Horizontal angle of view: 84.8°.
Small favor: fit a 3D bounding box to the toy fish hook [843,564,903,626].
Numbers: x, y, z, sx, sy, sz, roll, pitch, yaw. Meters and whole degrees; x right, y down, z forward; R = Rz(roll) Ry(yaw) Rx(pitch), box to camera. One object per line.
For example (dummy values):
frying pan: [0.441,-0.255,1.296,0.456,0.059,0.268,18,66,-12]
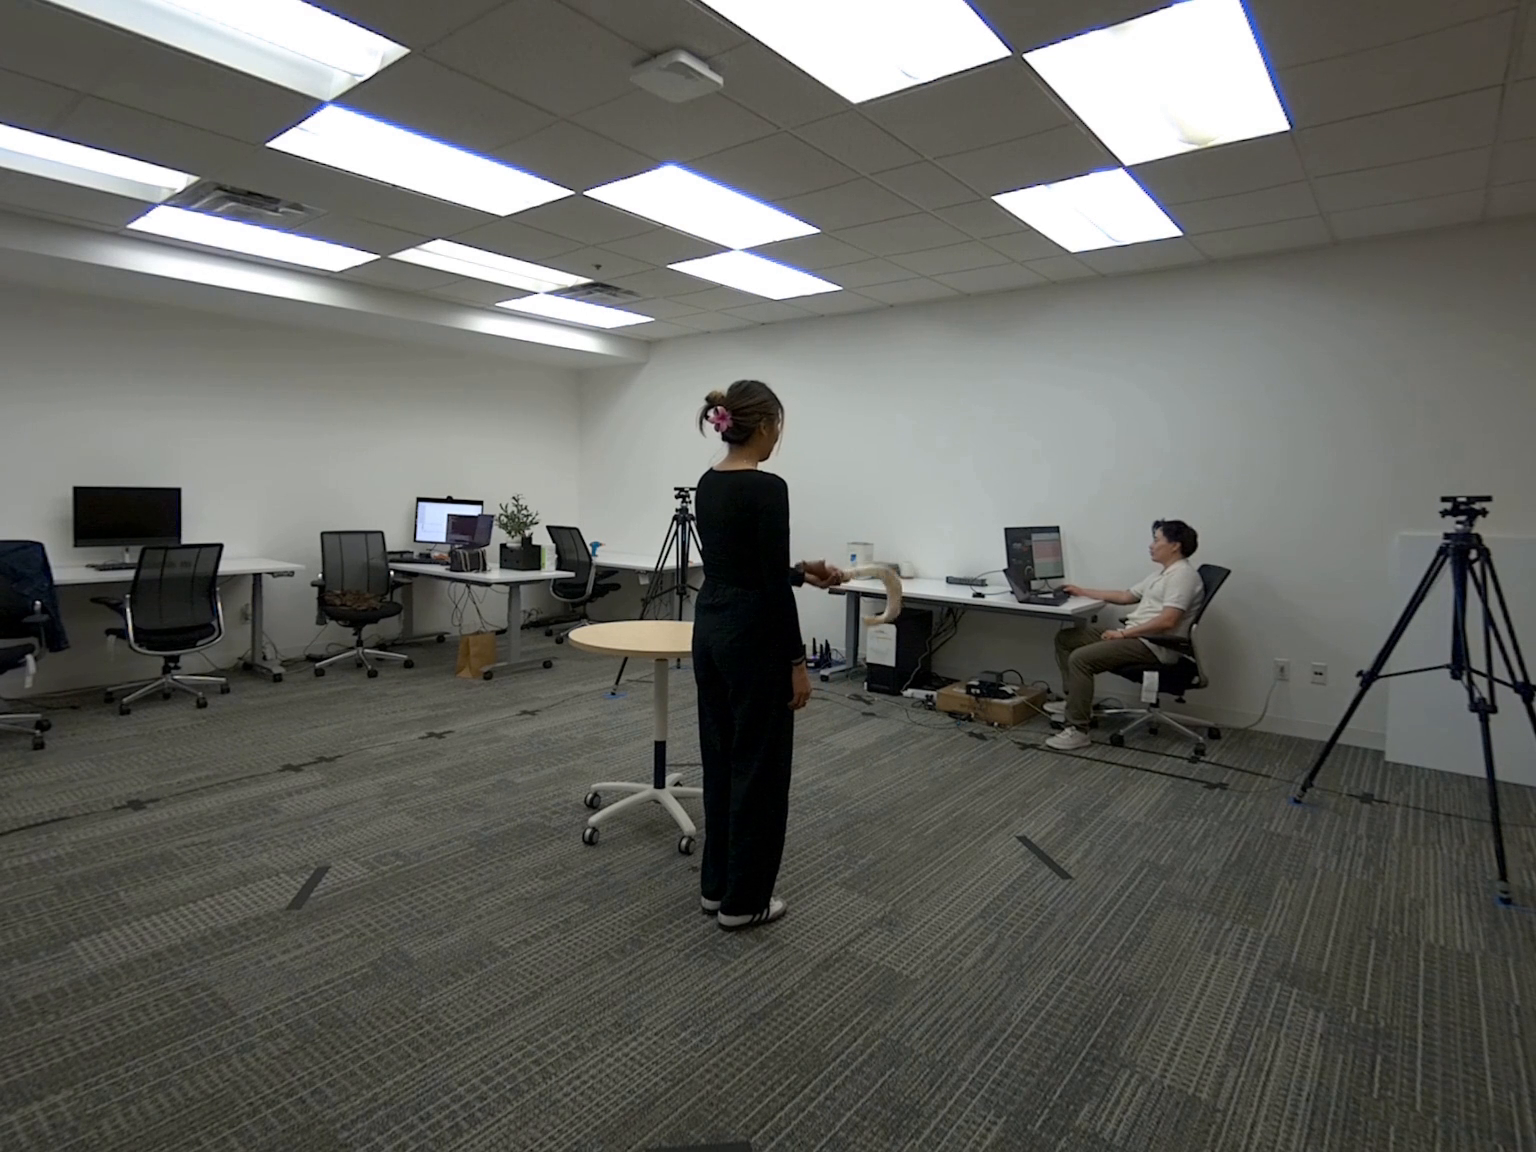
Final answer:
toy fish hook: [0.273,0.055,3.011,0.490,0.227,0.049,11,-13,-31]
